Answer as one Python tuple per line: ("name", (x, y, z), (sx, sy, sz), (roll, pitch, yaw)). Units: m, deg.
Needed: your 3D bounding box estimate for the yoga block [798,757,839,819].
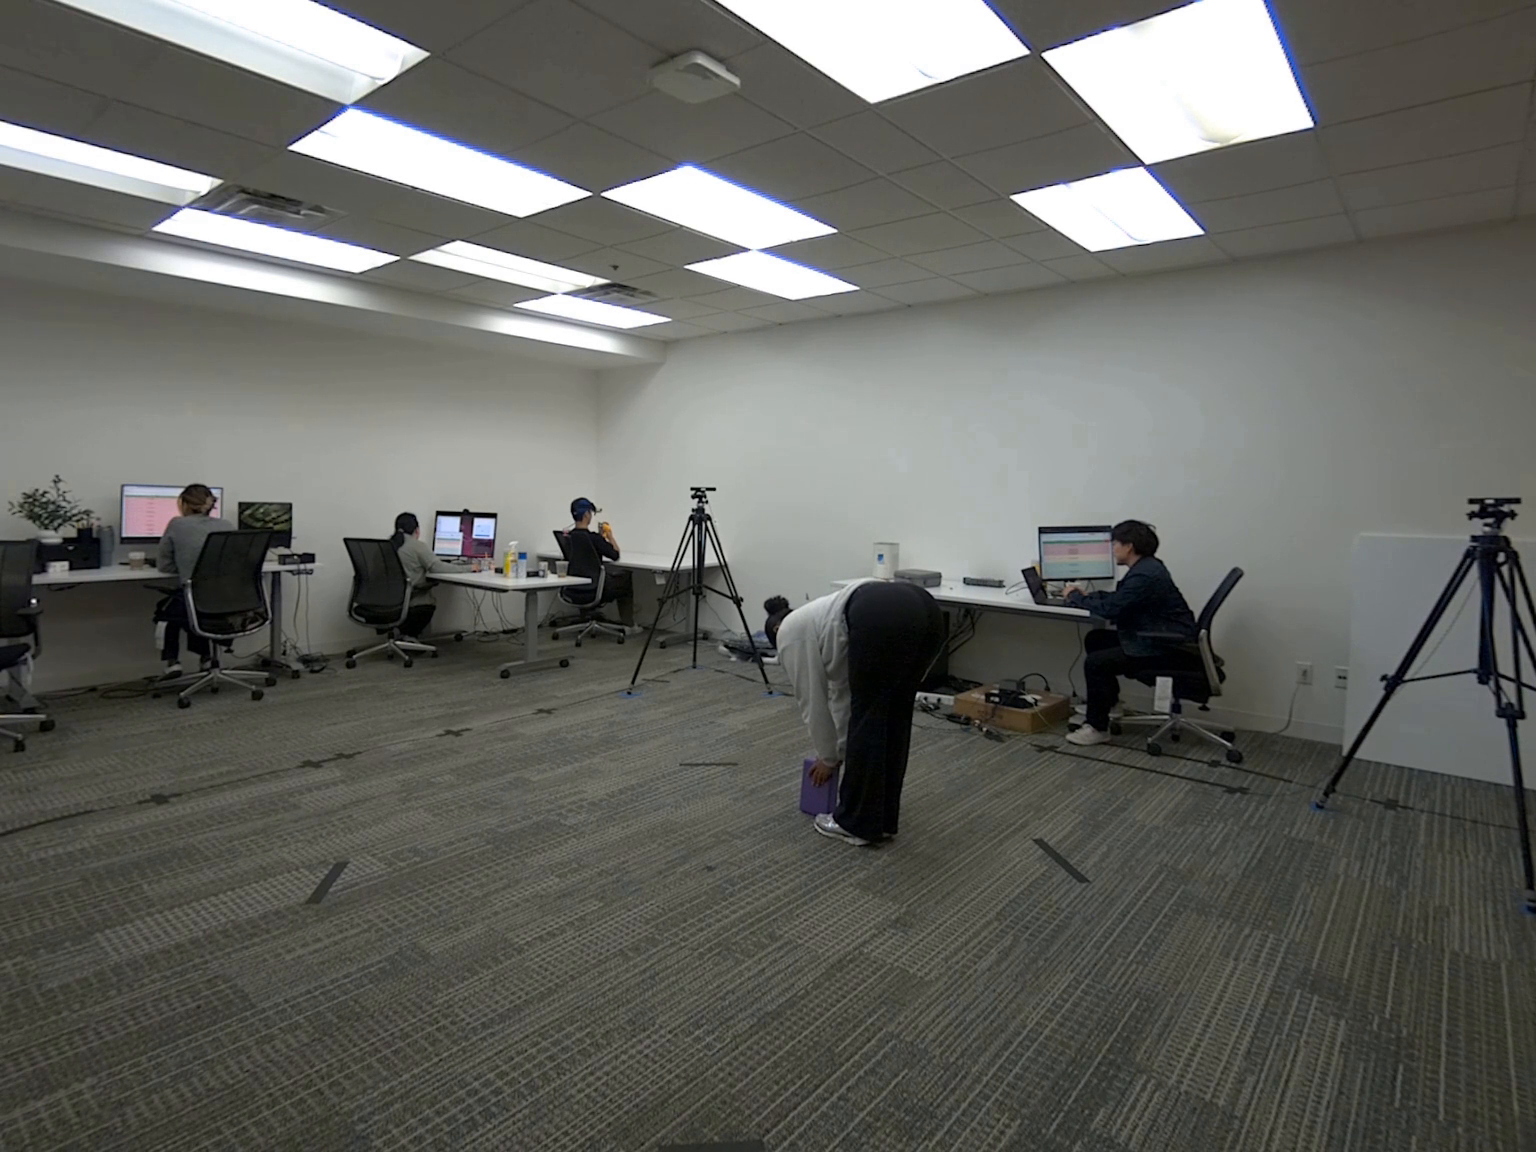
("yoga block", (0.211, 0.903, 3.659), (0.154, 0.229, 0.074), (6, 3, 38))
